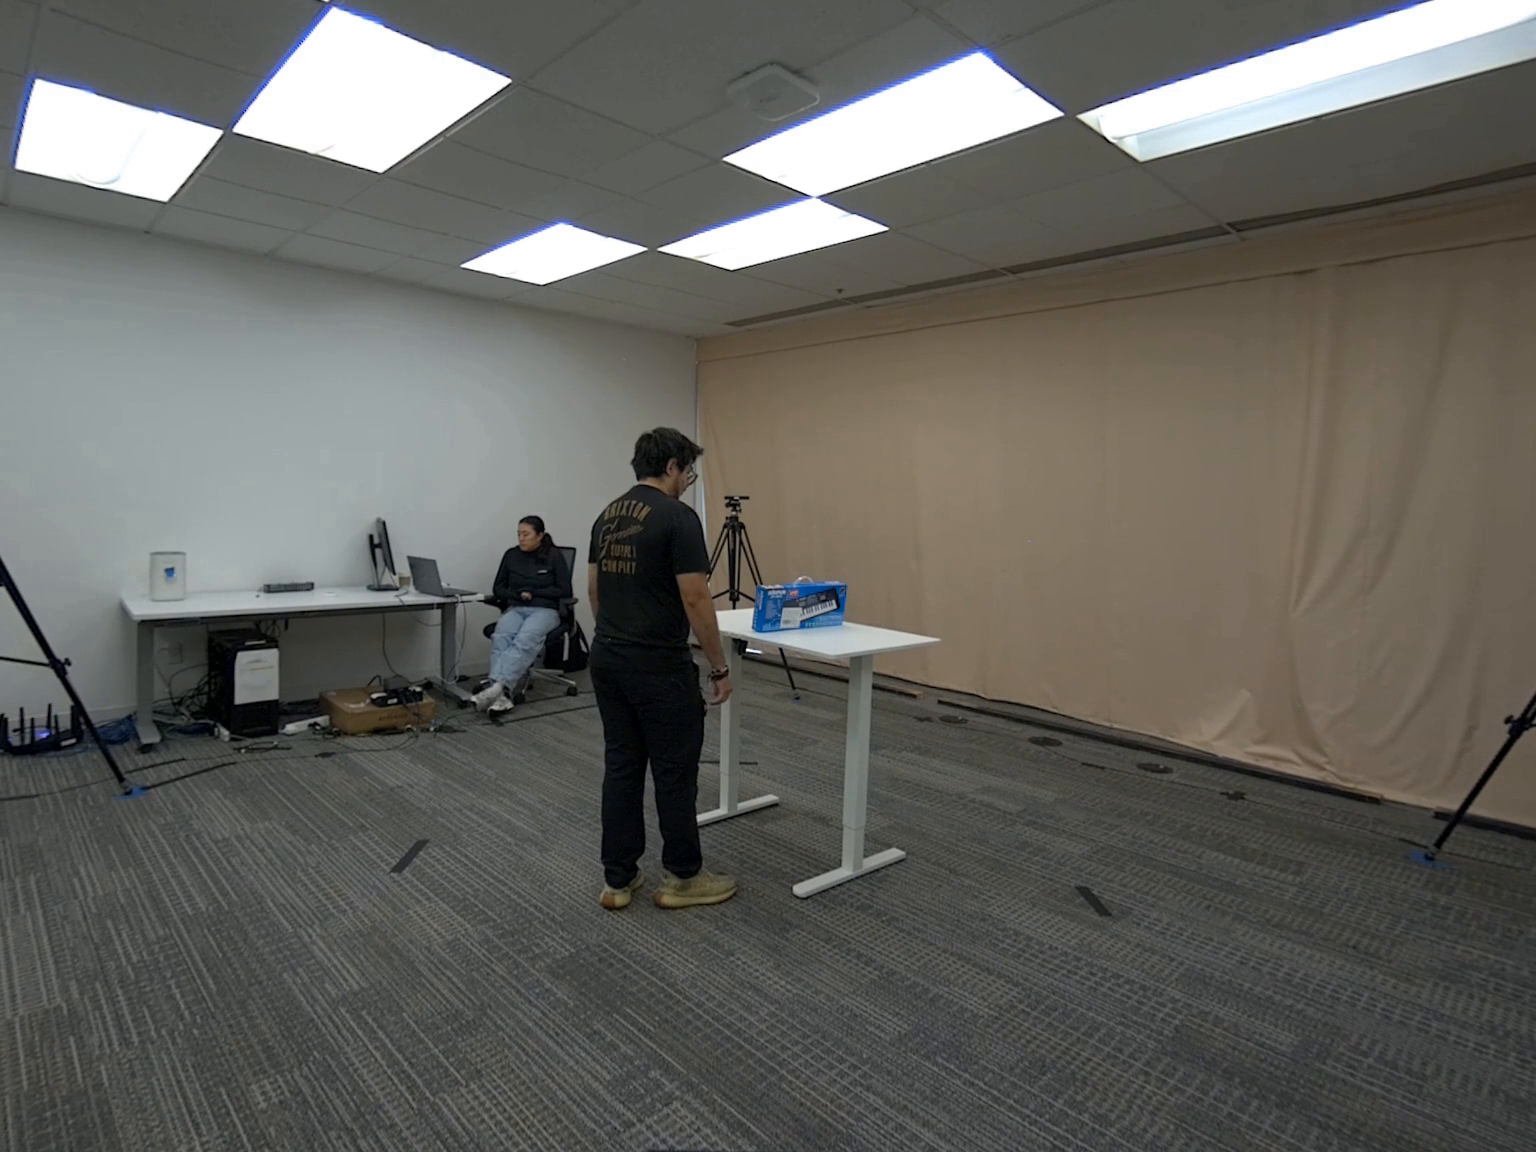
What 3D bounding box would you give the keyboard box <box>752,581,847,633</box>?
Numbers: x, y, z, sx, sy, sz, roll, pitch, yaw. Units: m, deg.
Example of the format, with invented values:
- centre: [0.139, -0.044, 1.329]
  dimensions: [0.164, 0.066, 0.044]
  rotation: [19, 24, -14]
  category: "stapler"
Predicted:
- centre: [0.126, 0.121, 3.326]
  dimensions: [0.427, 0.175, 0.061]
  rotation: [-2, 12, -39]
  category: "keyboard box"
